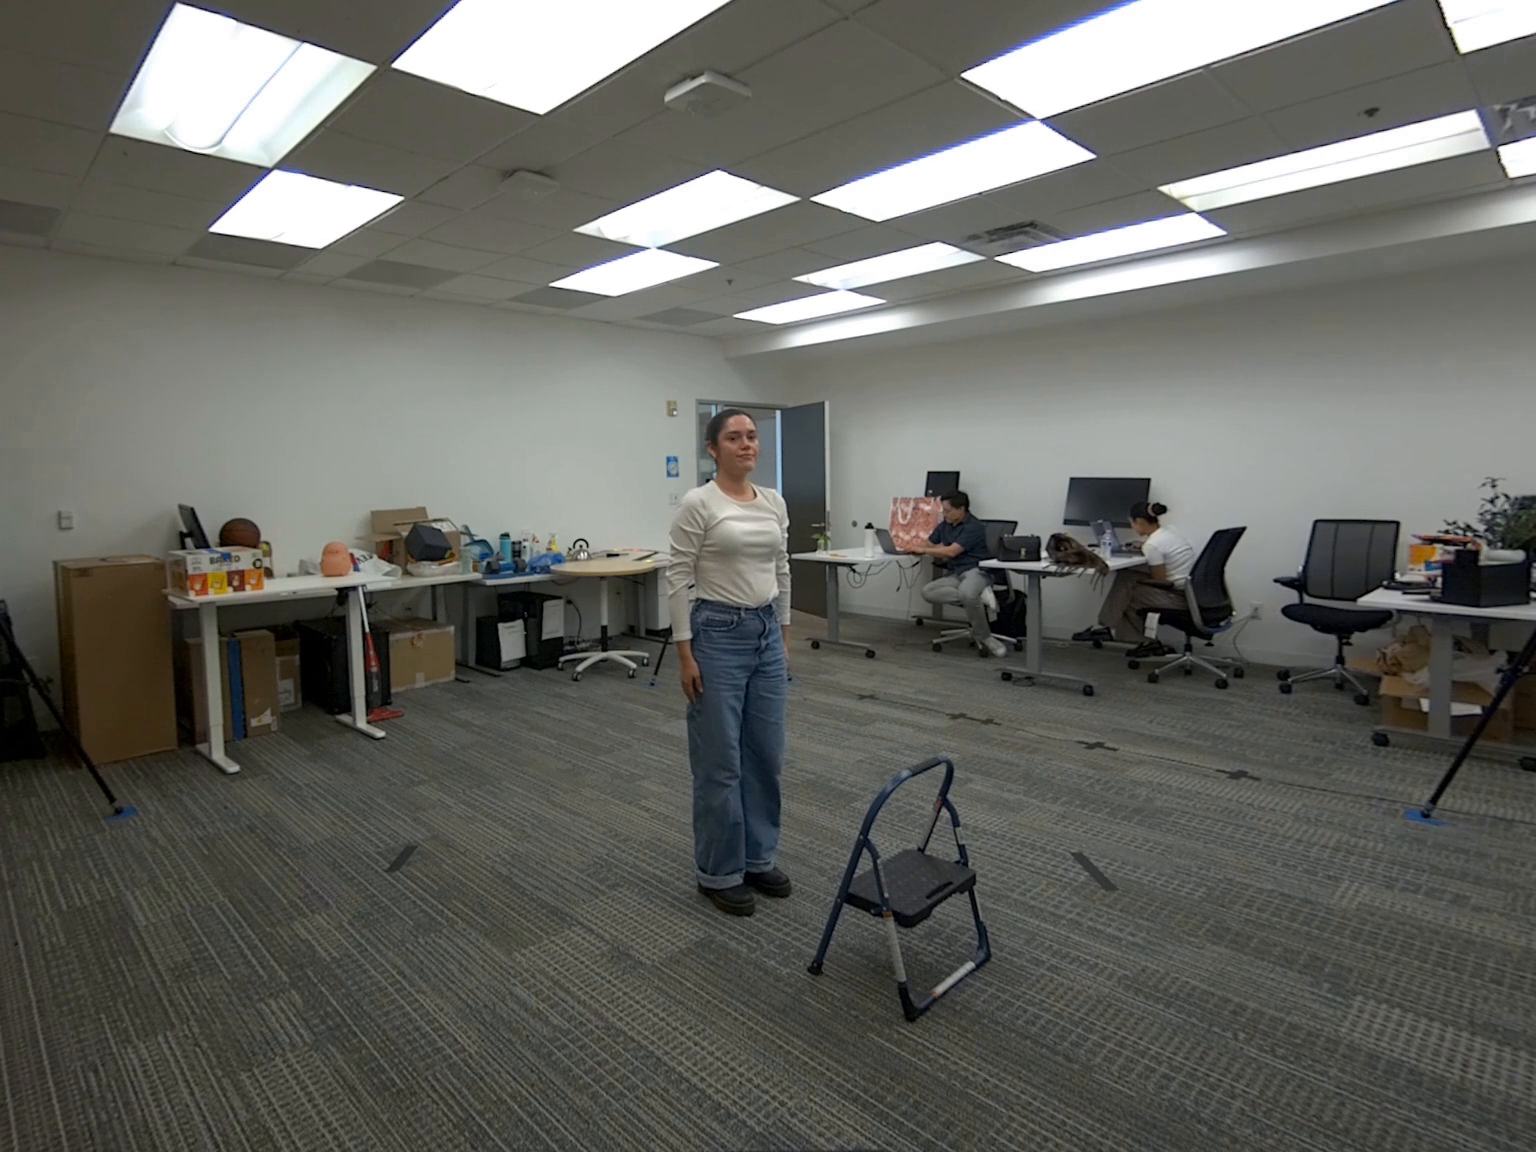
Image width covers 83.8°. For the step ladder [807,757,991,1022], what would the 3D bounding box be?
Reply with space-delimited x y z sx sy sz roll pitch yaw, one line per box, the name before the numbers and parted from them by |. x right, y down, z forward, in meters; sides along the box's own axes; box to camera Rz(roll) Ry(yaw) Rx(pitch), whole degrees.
step ladder | 0.380 0.813 2.426 0.360 0.603 0.419 3 7 43
